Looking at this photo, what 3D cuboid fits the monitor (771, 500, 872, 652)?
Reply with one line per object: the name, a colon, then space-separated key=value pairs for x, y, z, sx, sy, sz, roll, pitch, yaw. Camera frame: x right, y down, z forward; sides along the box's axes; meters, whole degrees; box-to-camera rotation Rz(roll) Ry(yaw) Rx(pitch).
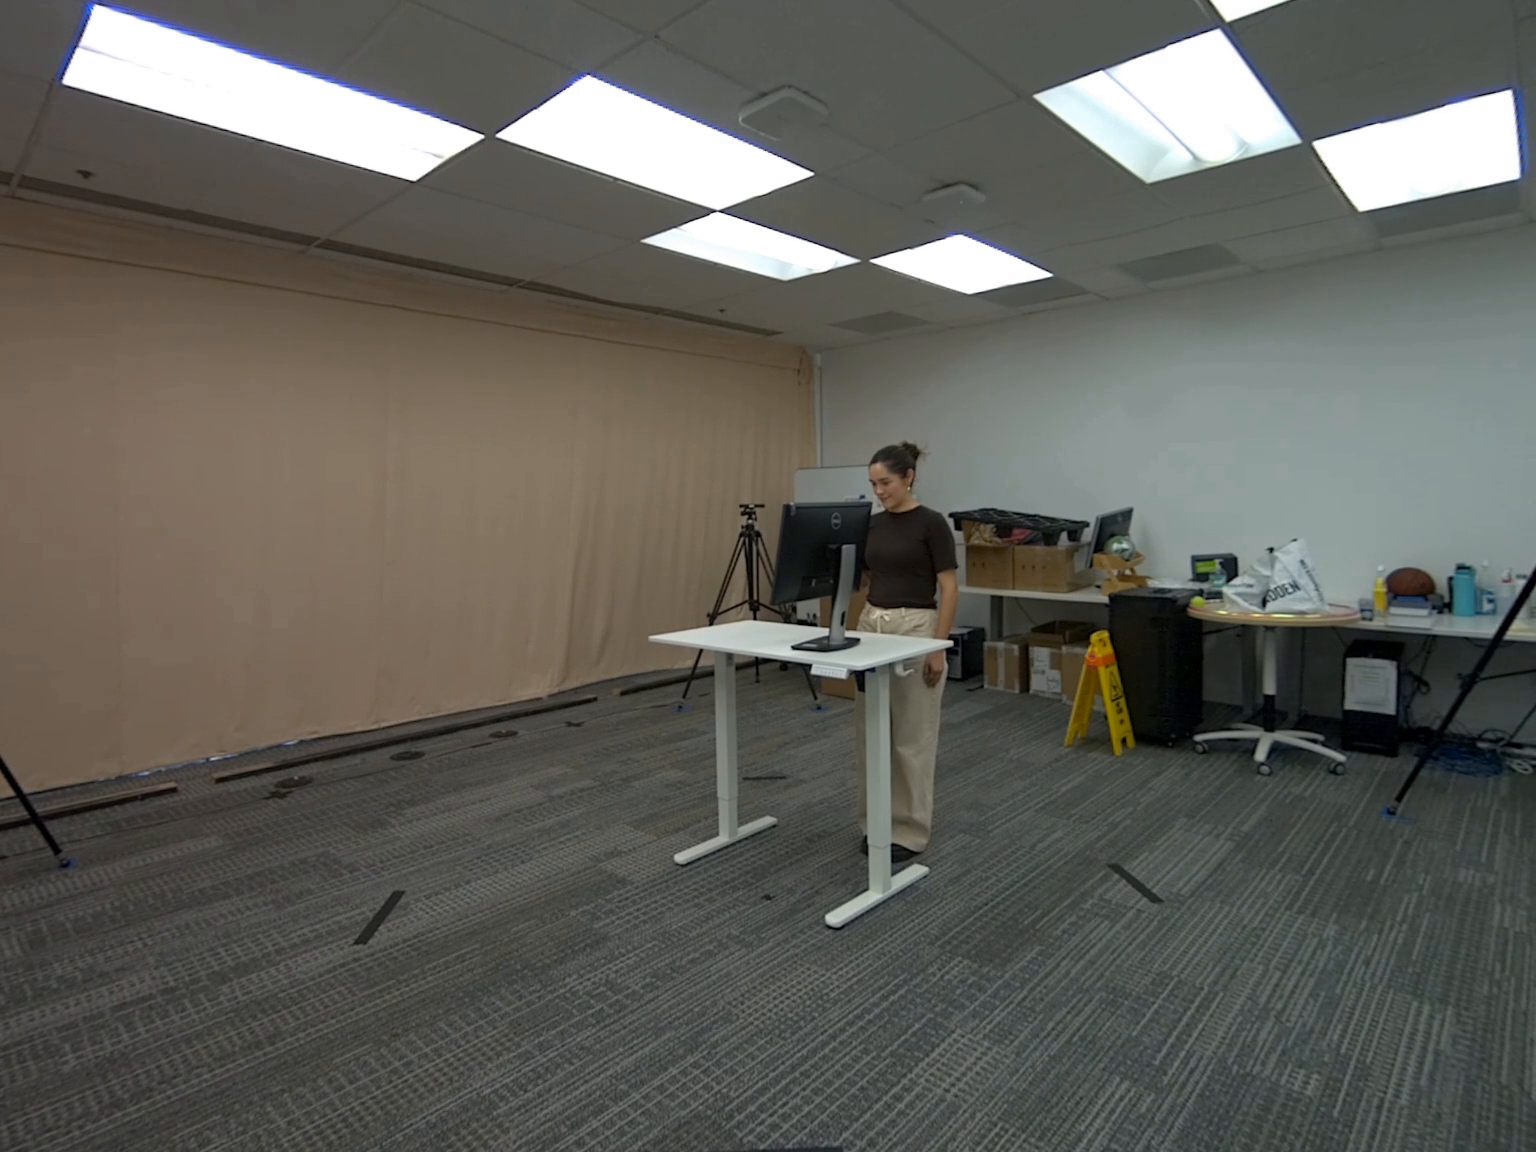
monitor: x=0.224 y=-0.001 z=2.995 sx=0.193 sy=0.521 sz=0.523 roll=0 pitch=4 yaw=41
